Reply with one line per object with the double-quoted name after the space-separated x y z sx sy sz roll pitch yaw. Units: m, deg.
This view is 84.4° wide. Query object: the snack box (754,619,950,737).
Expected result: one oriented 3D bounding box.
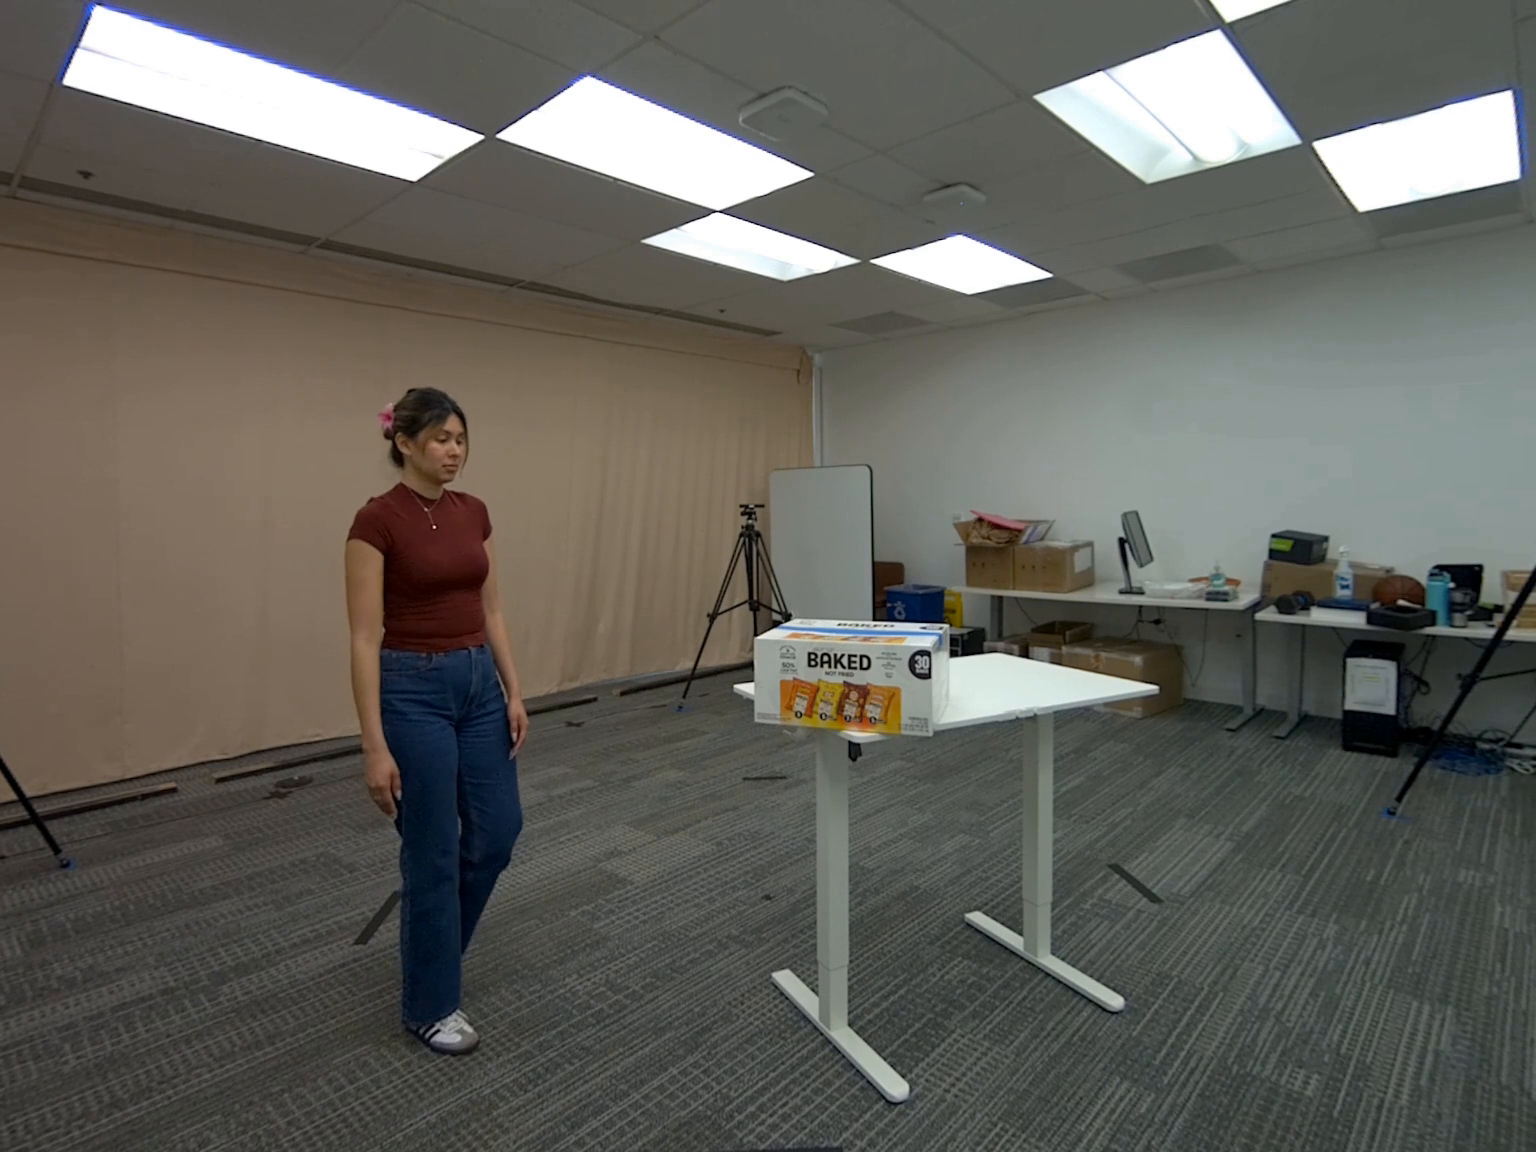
0.220 0.236 2.031 0.414 0.205 0.334 1 5 19 "snack box"
